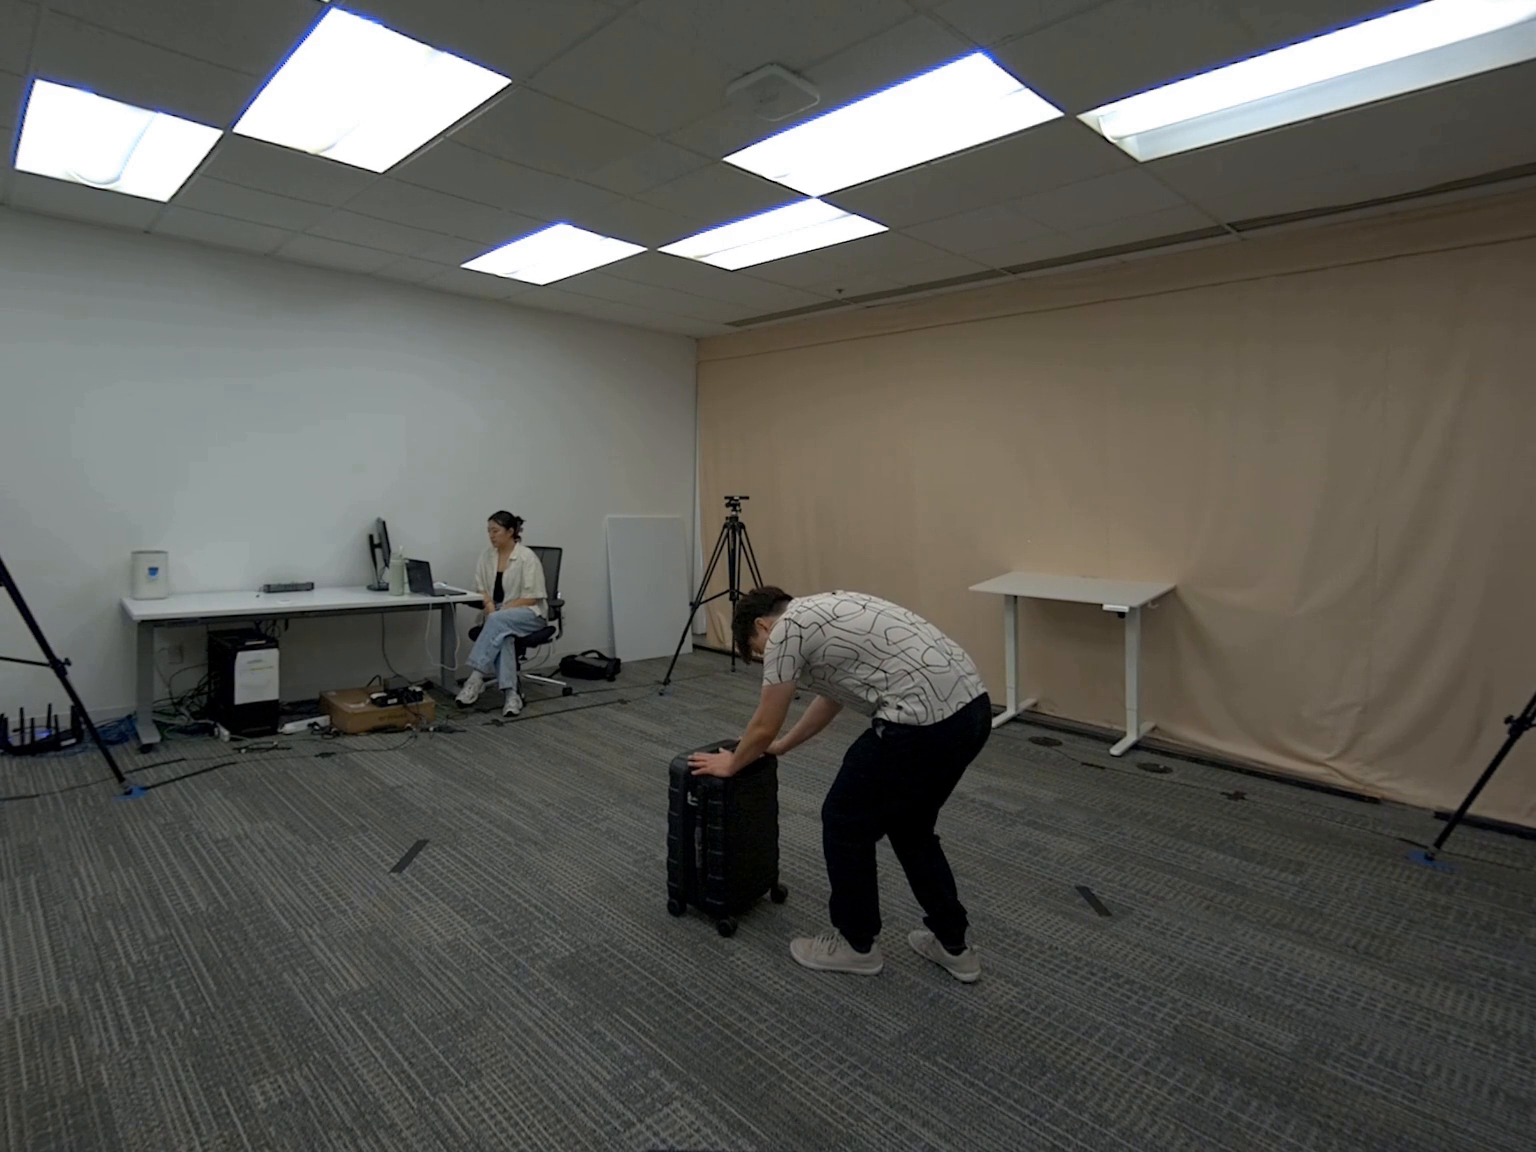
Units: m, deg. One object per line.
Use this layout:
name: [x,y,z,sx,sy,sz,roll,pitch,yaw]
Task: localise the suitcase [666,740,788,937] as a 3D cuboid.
suitcase: [-0.153,0.853,2.853,0.254,0.548,0.367,1,3,38]
